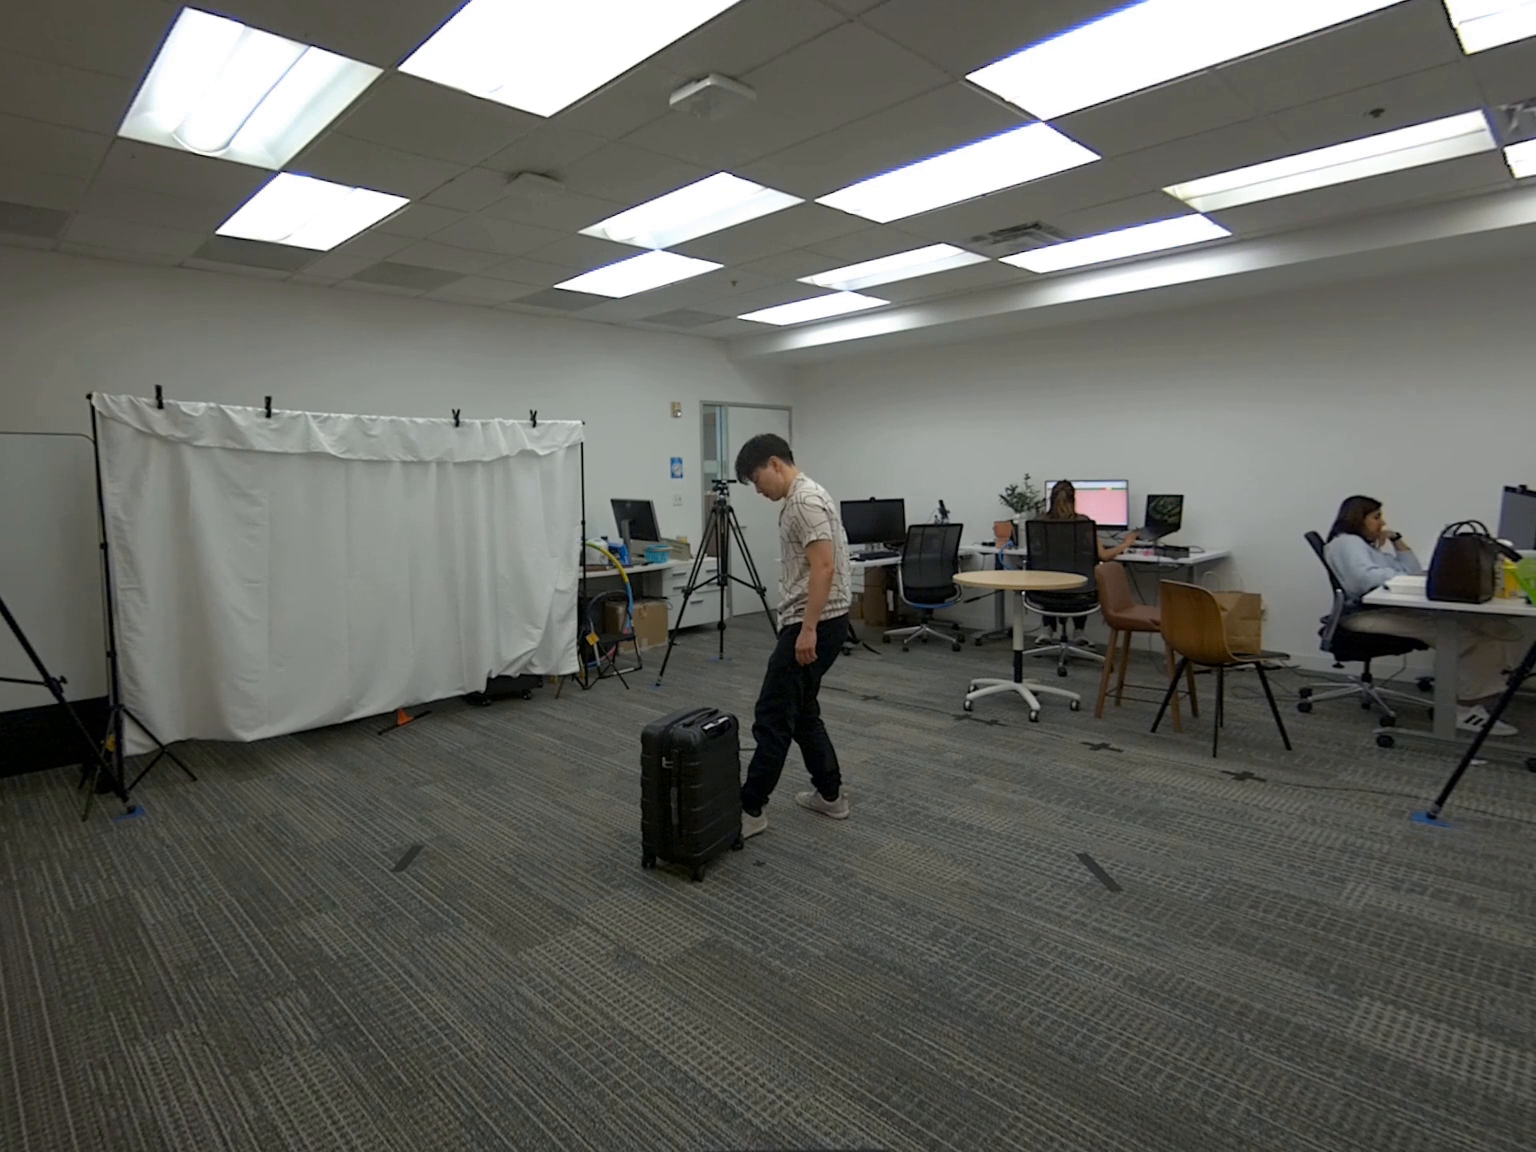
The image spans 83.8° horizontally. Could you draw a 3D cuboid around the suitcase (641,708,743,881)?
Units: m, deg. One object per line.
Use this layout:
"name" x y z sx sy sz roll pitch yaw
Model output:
"suitcase" -0.279 0.771 3.129 0.255 0.547 0.368 1 6 29
